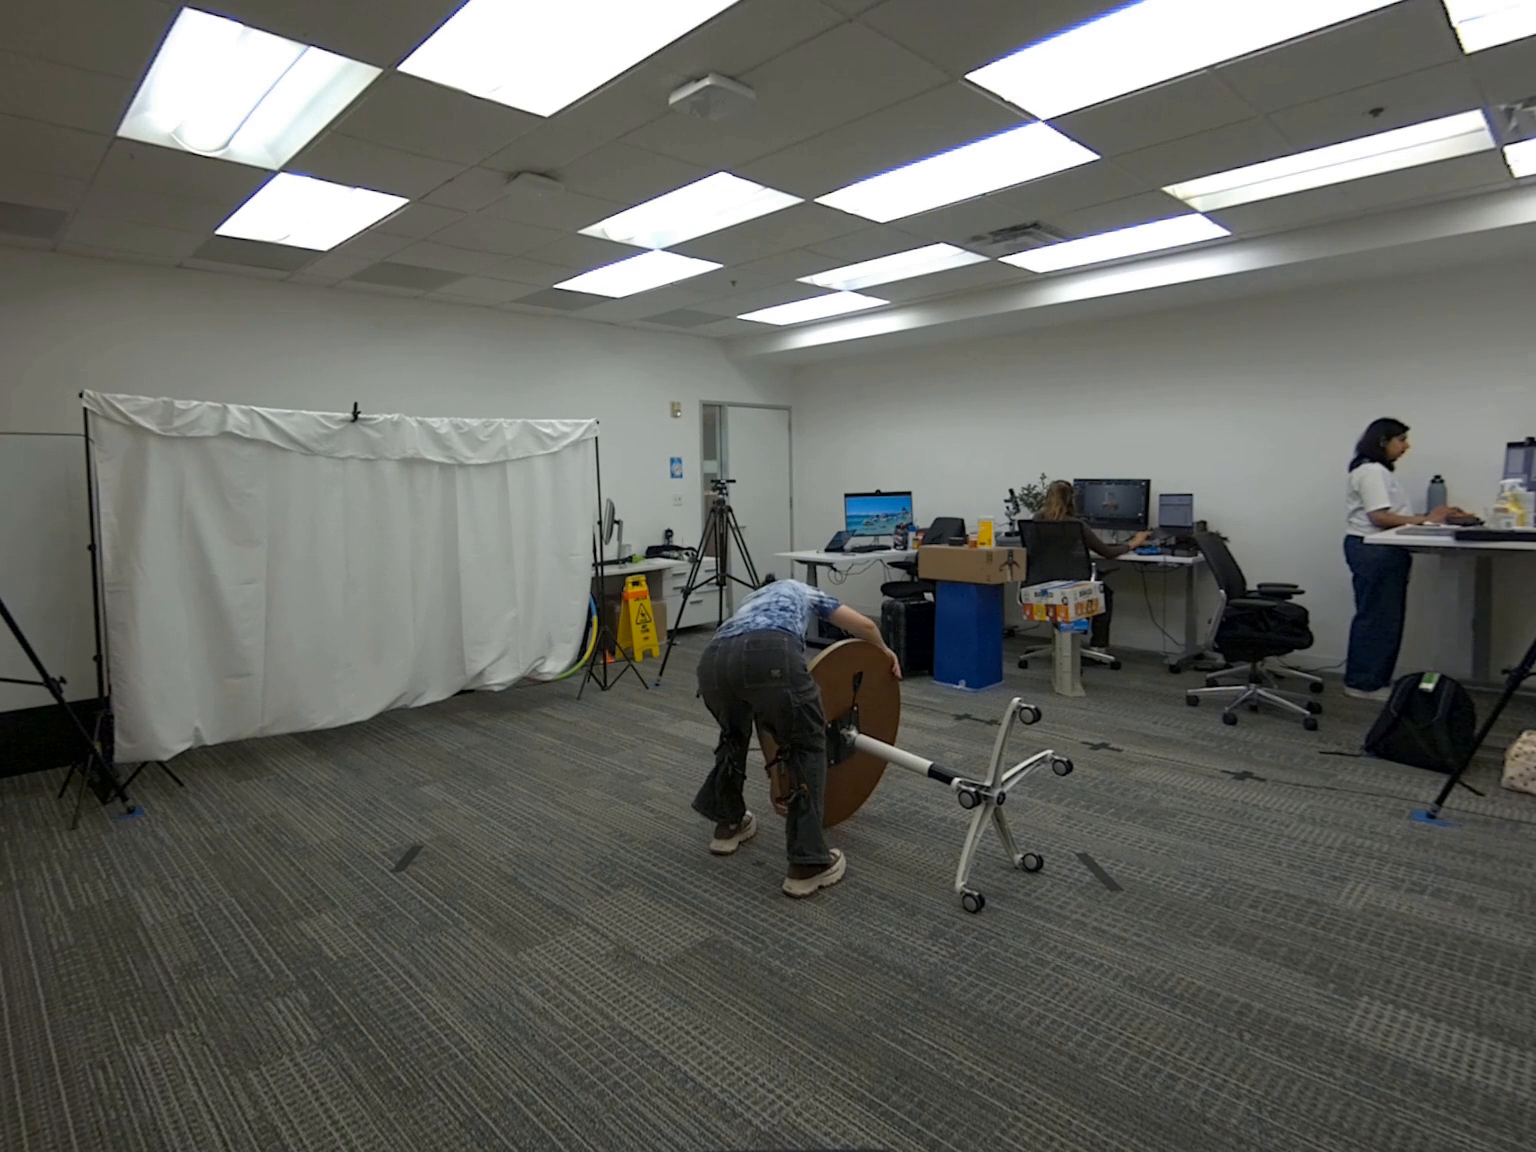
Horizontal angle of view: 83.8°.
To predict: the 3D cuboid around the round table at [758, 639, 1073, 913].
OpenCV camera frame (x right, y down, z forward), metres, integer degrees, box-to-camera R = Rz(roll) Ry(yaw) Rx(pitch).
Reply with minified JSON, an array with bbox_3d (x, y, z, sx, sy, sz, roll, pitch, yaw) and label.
[{"bbox_3d":[0.561,0.692,3.121,0.744,0.758,0.821,-5,13,-44],"label":"round table"}]
